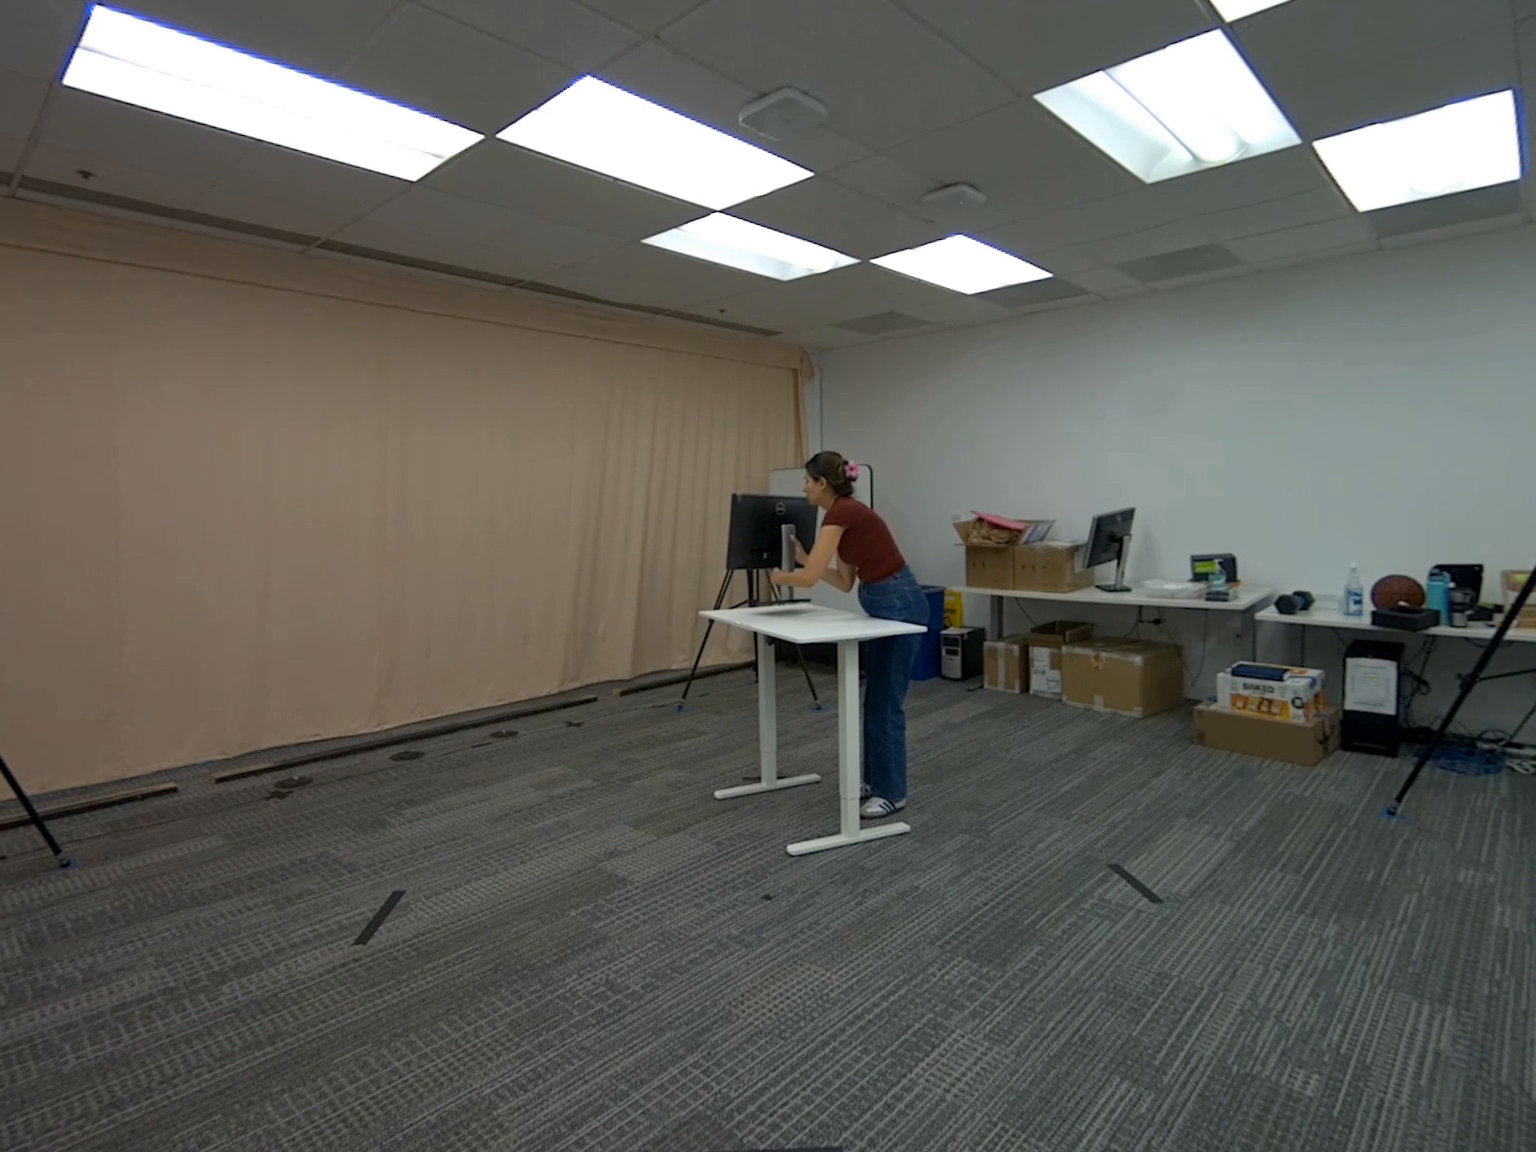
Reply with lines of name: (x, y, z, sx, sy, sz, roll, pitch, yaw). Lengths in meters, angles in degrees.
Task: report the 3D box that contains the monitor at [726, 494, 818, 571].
monitor: (0.065, -0.121, 3.984, 0.523, 0.523, 0.192, -1, -3, -37)
